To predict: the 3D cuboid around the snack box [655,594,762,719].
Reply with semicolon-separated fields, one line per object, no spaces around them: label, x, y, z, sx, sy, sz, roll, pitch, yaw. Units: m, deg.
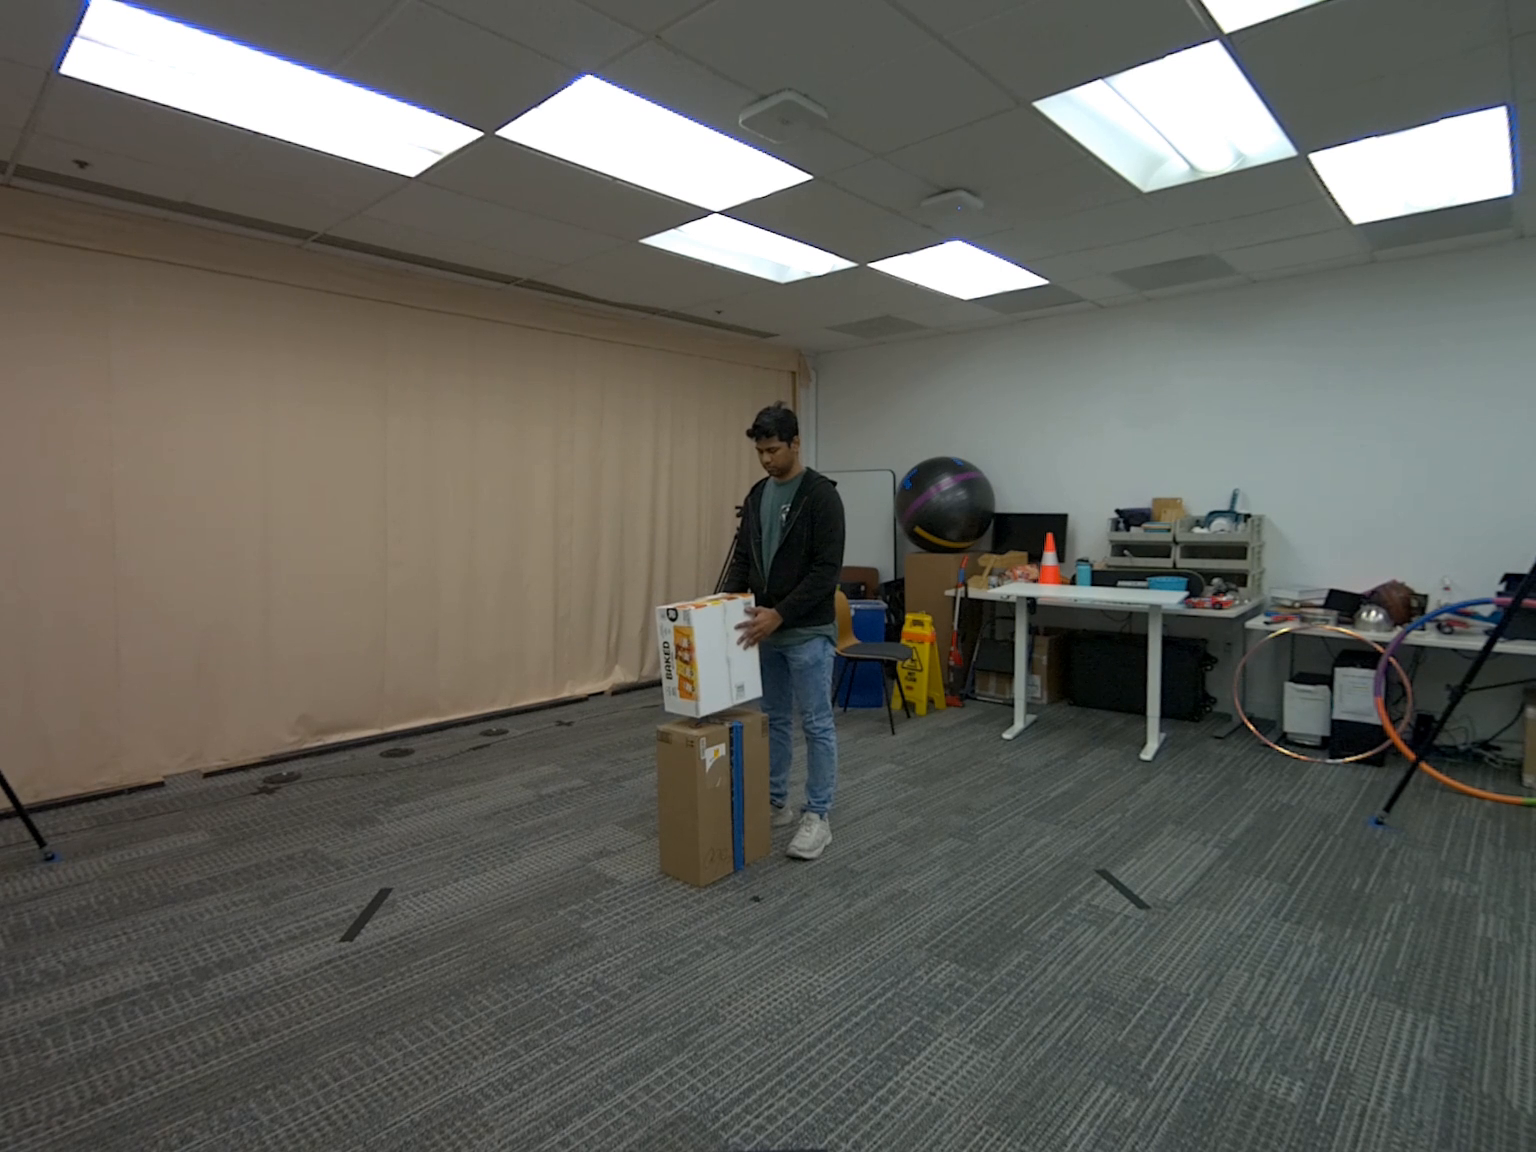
snack box;-0.220;0.292;3.250;0.212;0.404;0.330;0;6;45
